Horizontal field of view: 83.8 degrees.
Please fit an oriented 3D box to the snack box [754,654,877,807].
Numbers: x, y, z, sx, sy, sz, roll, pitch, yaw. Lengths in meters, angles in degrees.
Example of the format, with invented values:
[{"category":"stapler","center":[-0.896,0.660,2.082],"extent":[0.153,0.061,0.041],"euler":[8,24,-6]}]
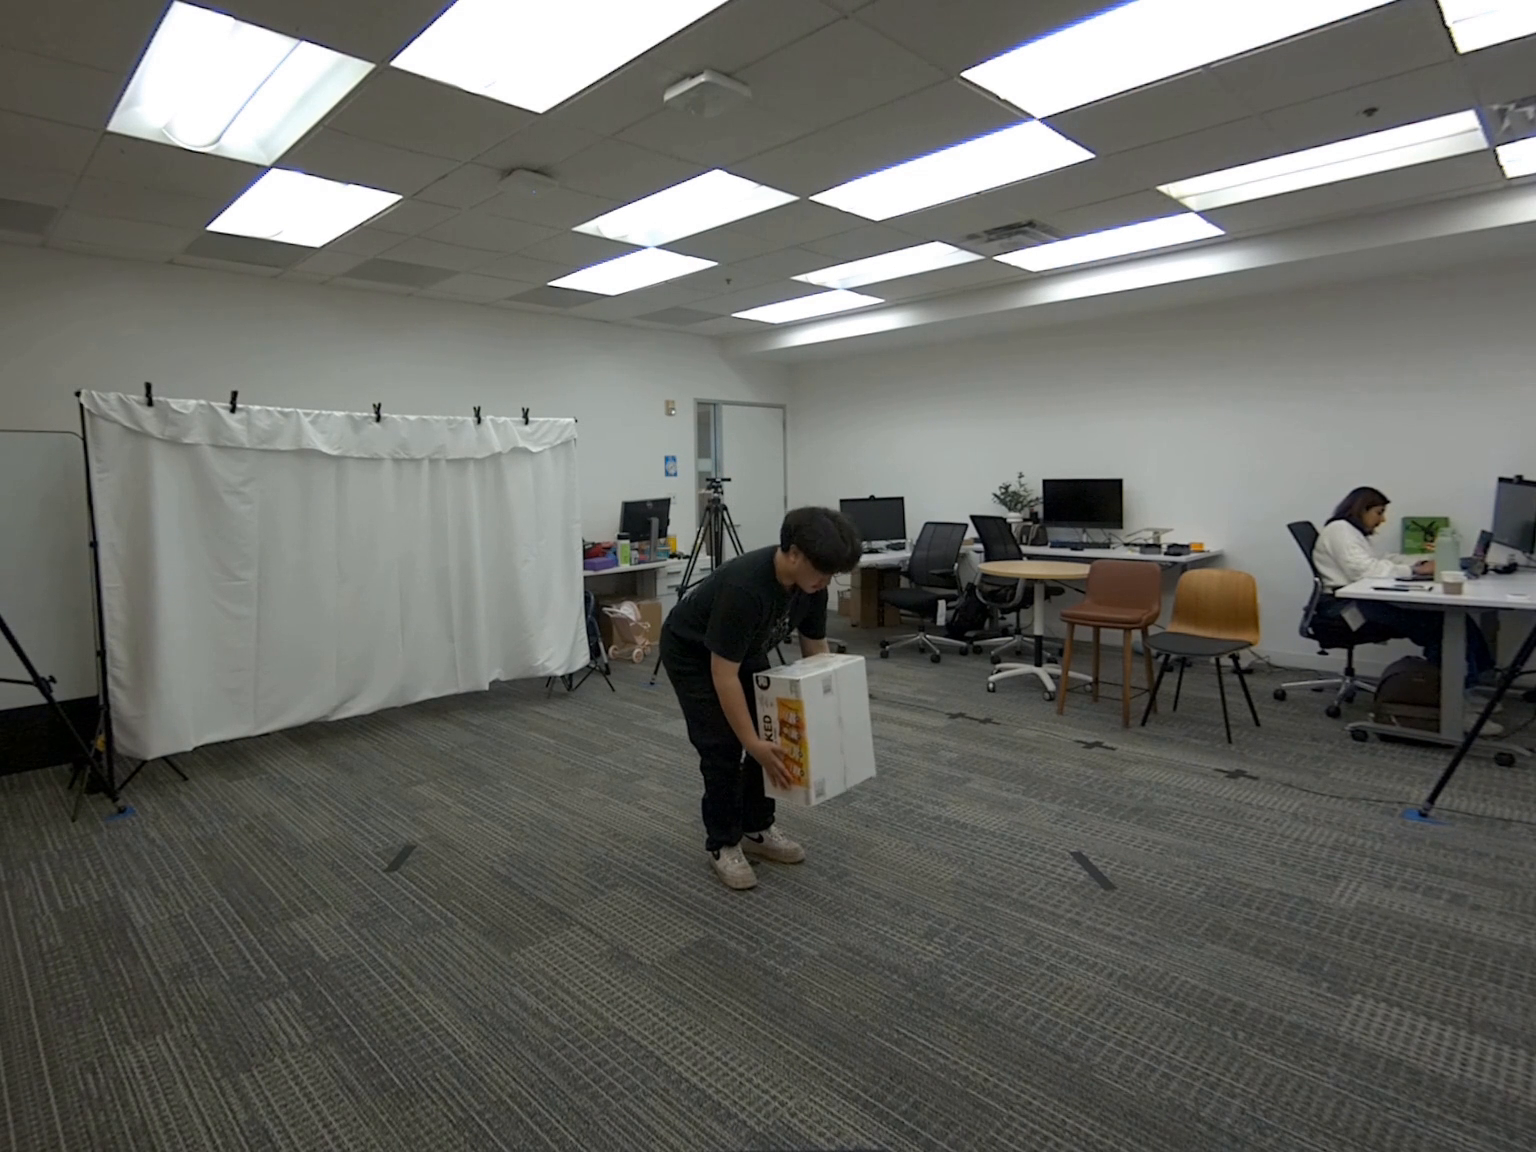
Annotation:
[{"category":"snack box","center":[0.152,0.494,2.821],"extent":[0.211,0.404,0.332],"euler":[-3,4,45]}]
